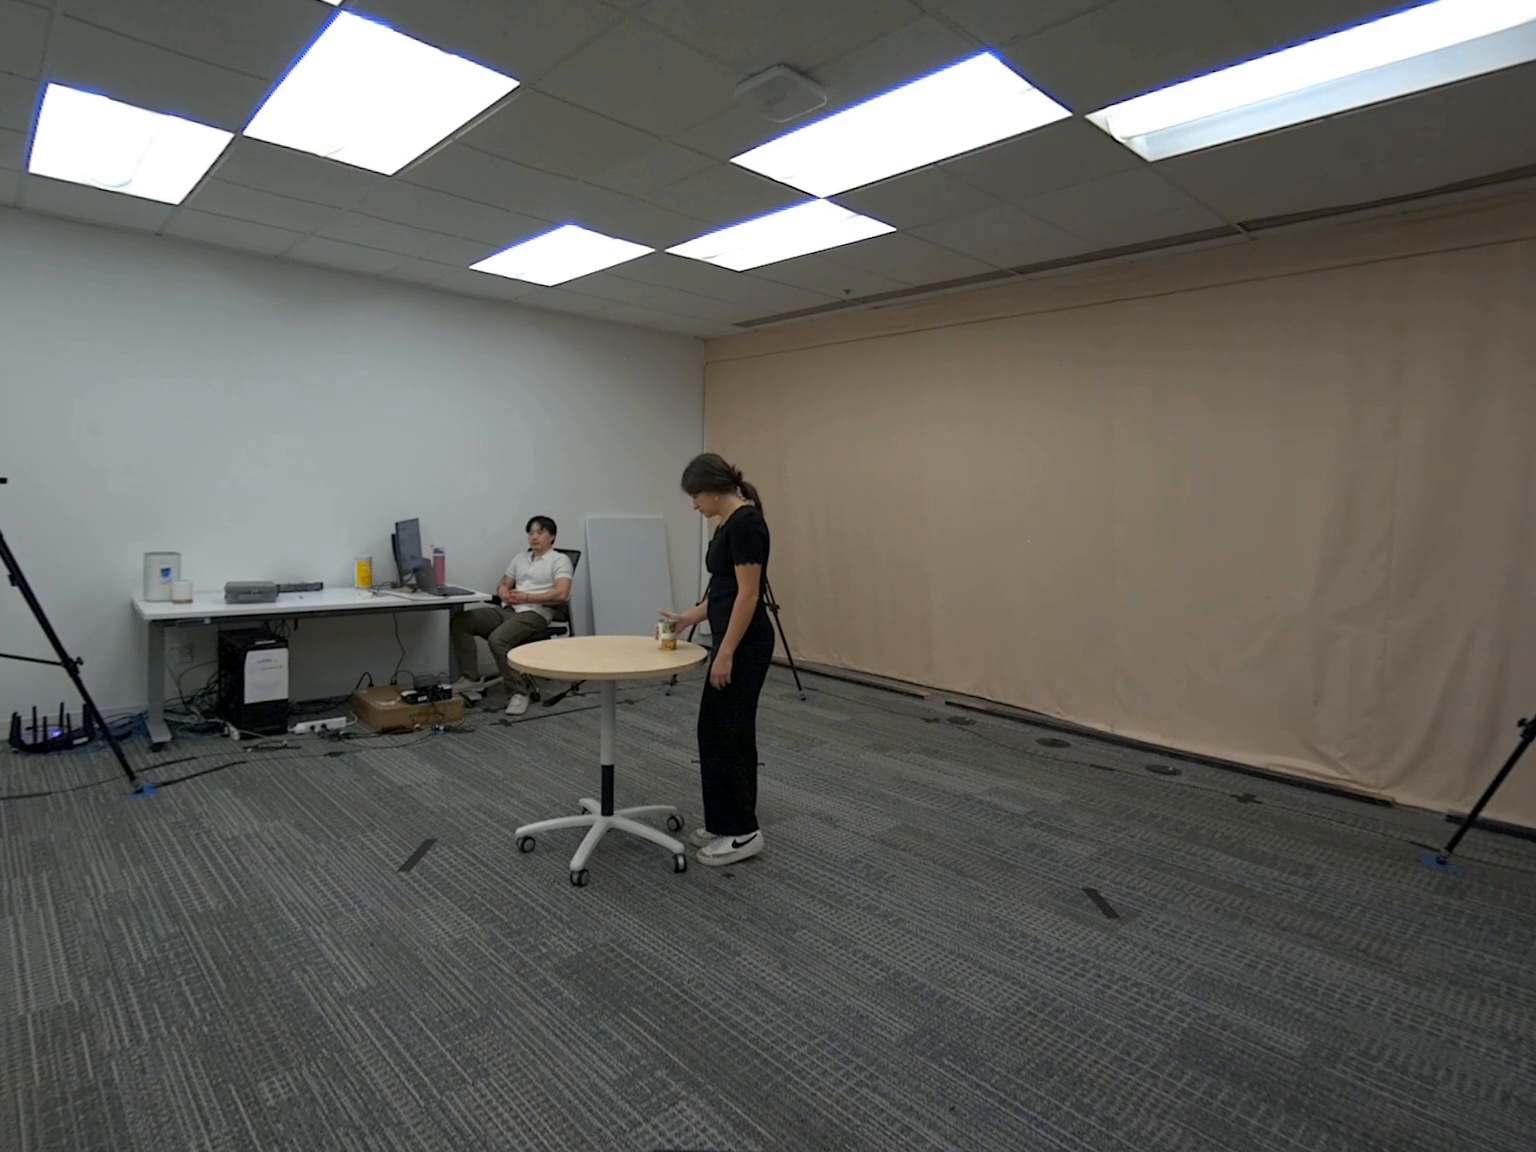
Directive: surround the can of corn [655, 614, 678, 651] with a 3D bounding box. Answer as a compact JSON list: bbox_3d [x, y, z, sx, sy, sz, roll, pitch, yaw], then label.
[{"bbox_3d":[-0.410,0.238,3.357,0.074,0.111,0.074,-1,0,-1],"label":"can of corn"}]
